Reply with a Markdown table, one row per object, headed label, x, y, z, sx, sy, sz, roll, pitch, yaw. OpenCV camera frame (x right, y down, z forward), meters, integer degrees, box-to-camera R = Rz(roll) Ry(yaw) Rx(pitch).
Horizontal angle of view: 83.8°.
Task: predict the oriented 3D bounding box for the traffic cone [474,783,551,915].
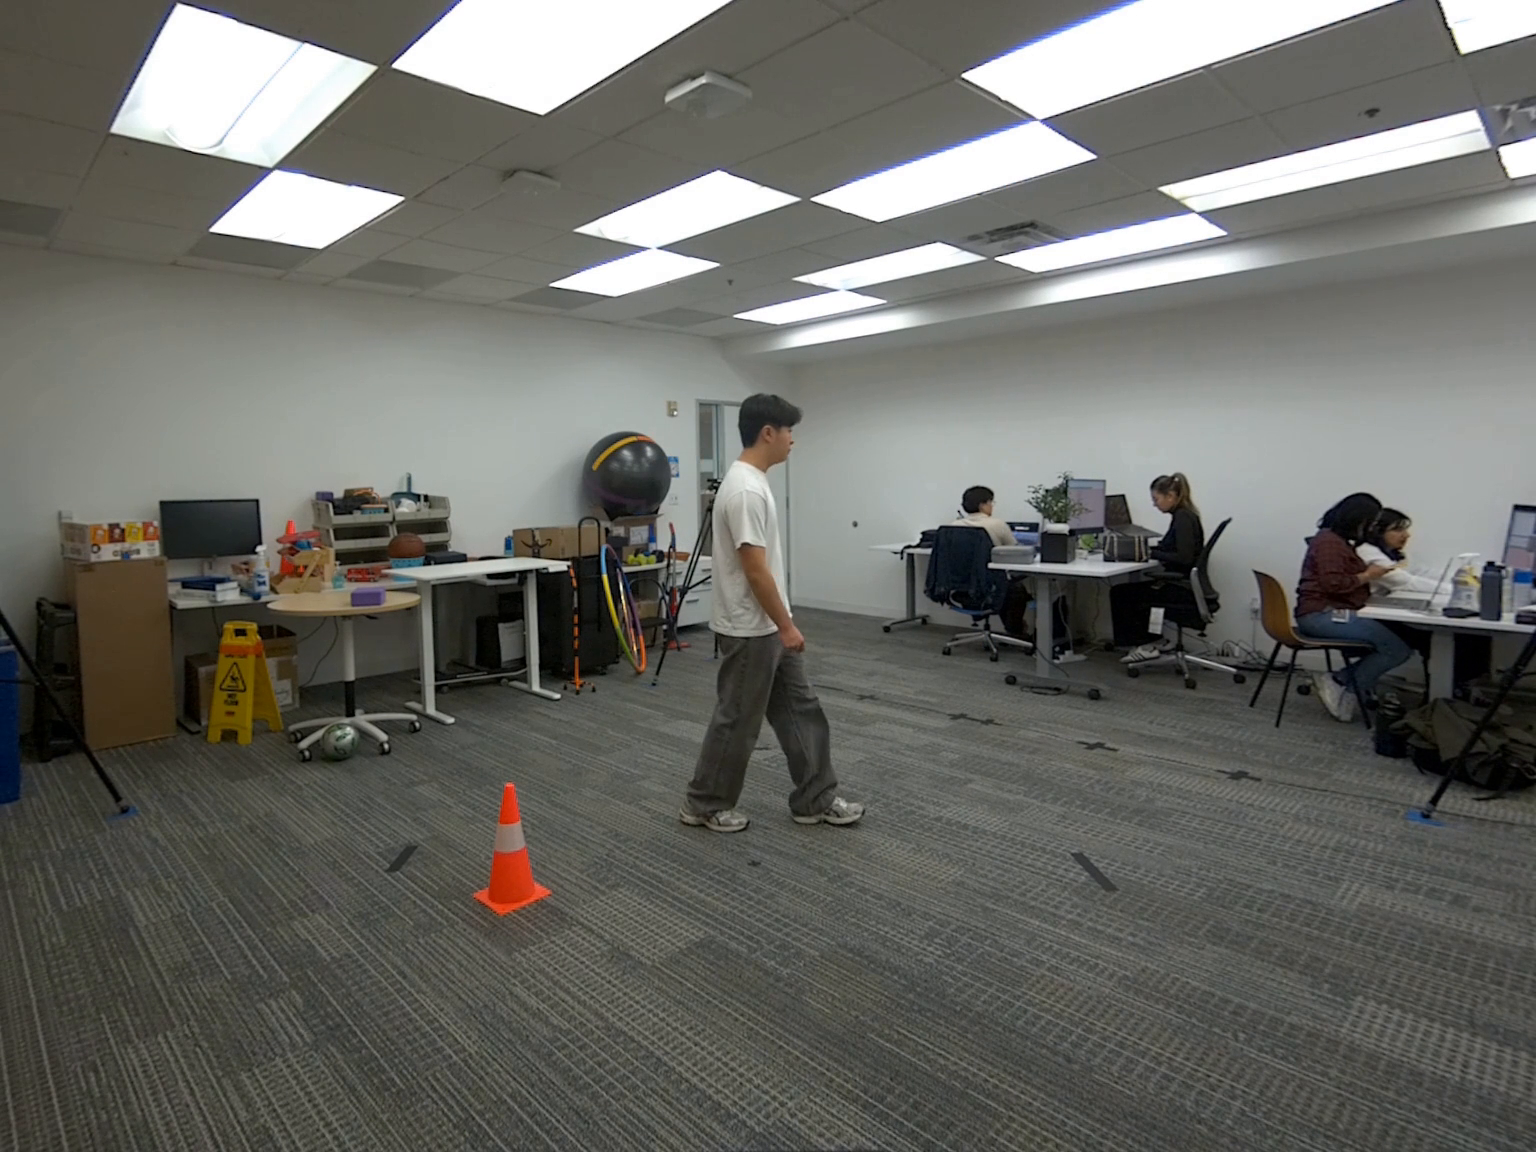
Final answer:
| label | x | y | z | sx | sy | sz | roll | pitch | yaw |
| --- | --- | --- | --- | --- | --- | --- | --- | --- | --- |
| traffic cone | -0.881 | 0.902 | 2.904 | 0.200 | 0.383 | 0.209 | -5 | 4 | -40 |
